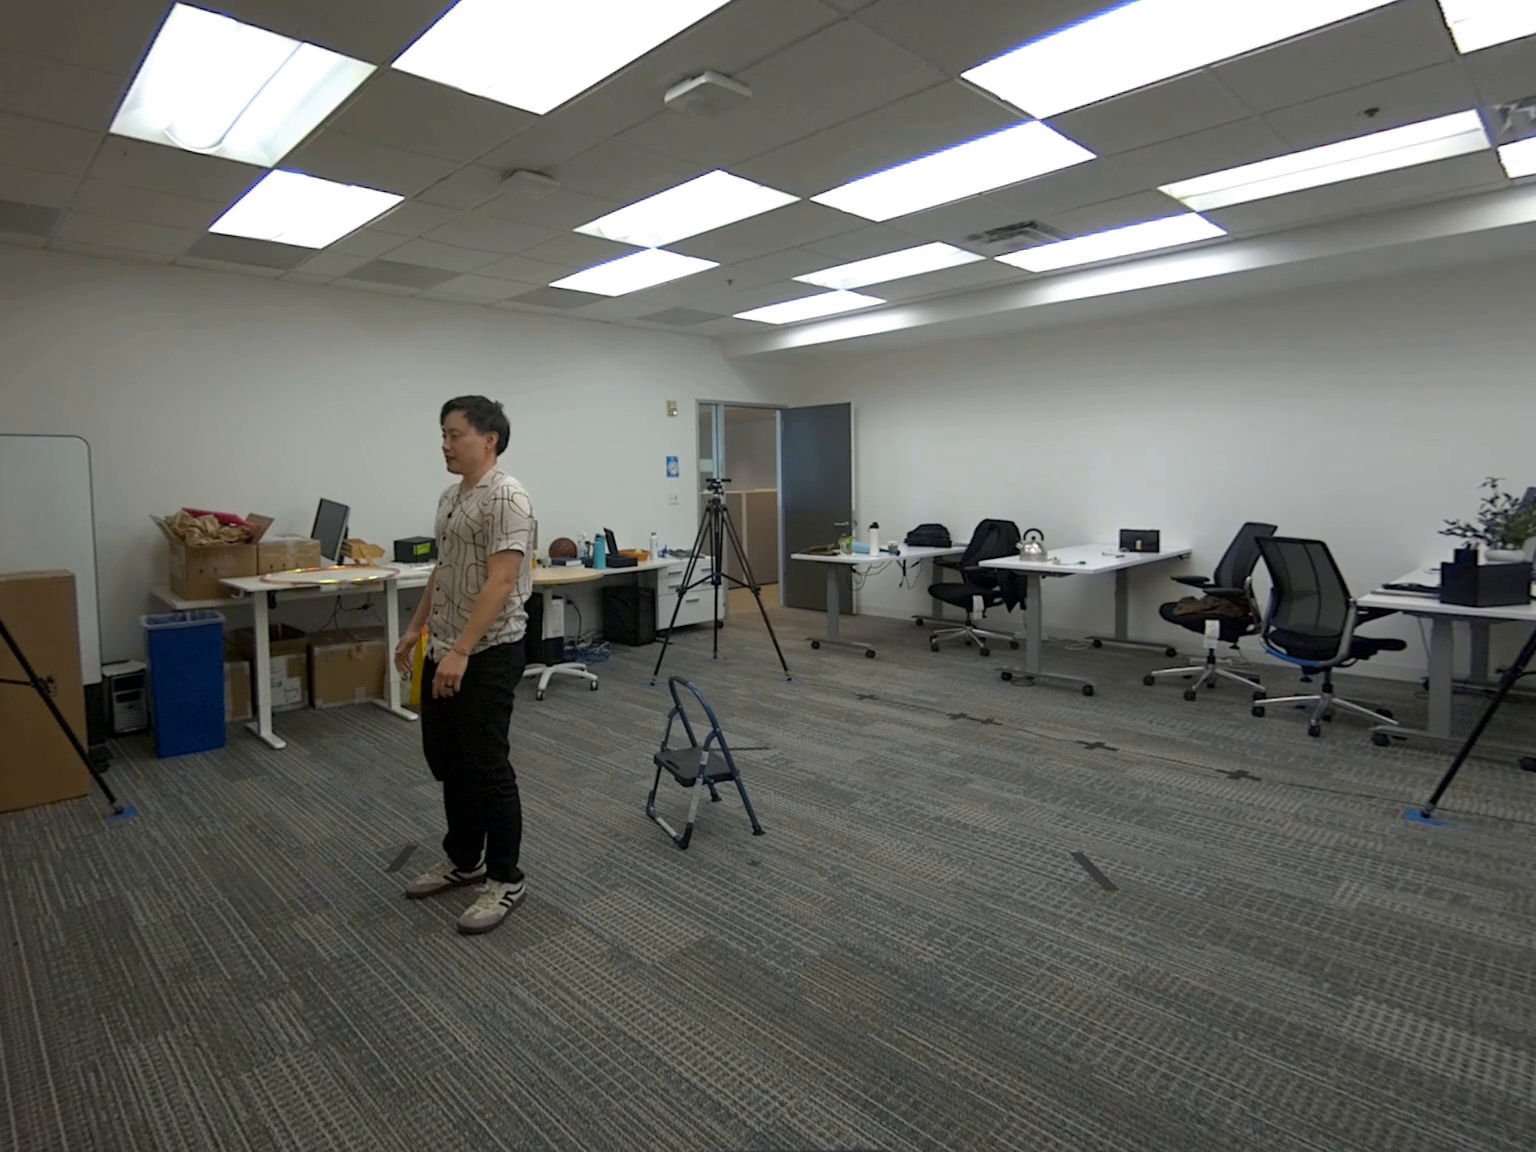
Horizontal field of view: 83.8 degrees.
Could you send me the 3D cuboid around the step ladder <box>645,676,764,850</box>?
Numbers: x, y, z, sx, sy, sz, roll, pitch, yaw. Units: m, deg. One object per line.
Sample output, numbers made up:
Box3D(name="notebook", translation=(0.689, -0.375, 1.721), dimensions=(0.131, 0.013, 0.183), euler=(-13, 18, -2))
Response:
Box3D(name="step ladder", translation=(-0.269, 0.703, 3.462), dimensions=(0.341, 0.604, 0.442), euler=(-3, 5, -28))
